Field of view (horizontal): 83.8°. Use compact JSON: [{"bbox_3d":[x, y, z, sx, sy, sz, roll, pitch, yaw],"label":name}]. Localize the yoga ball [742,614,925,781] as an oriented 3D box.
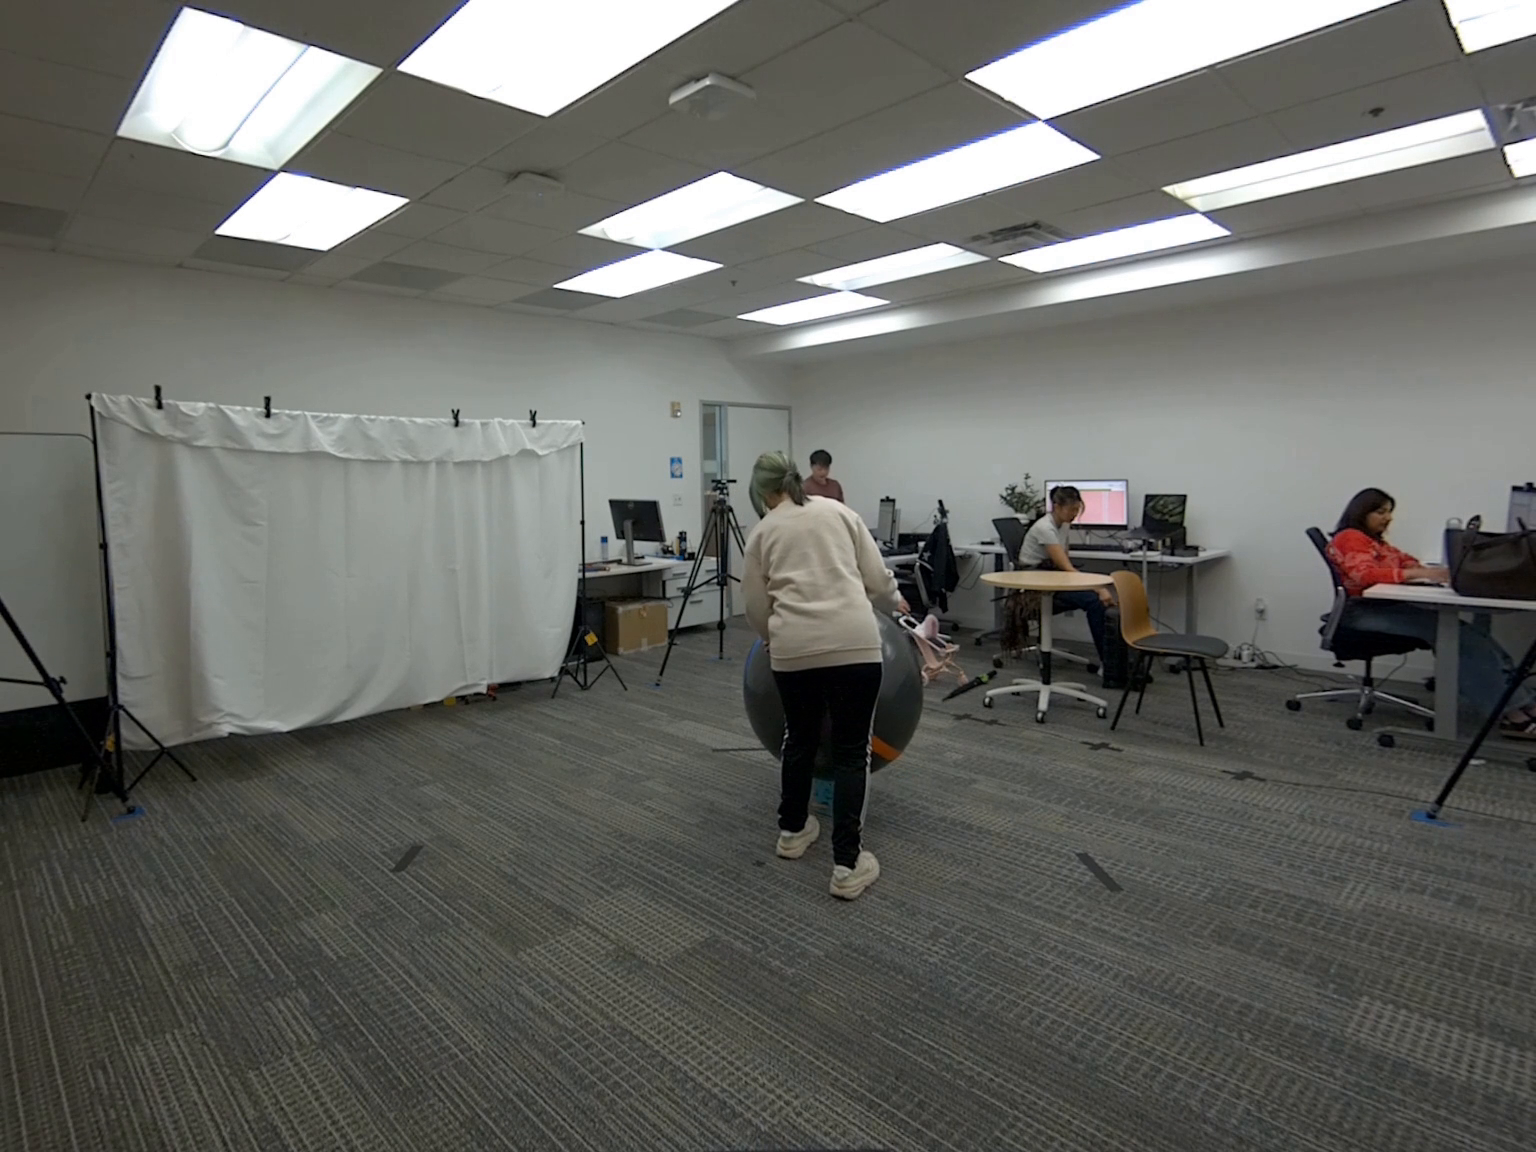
[{"bbox_3d":[0.278,0.473,3.609,0.757,0.755,0.762,-1,5,-2],"label":"yoga ball"}]
